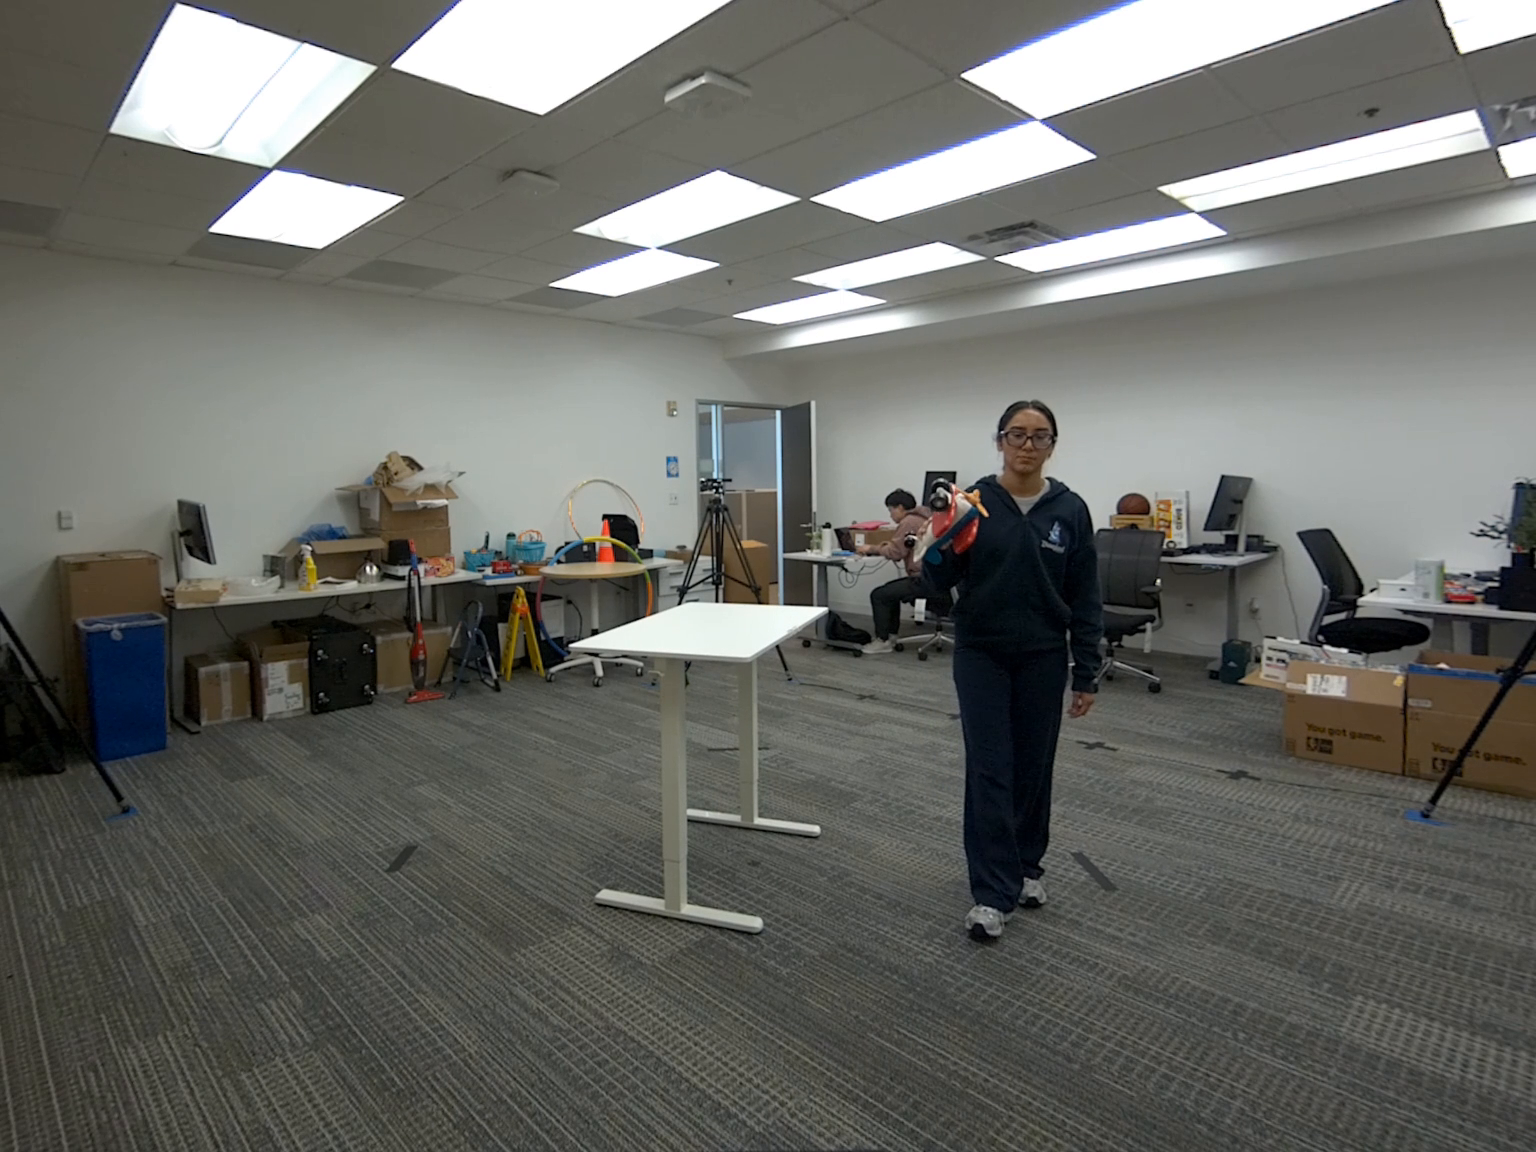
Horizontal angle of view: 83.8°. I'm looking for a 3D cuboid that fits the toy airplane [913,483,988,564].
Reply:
[{"bbox_3d":[0.523,-0.165,2.509,0.156,0.254,0.256,23,-27,-1],"label":"toy airplane"}]
